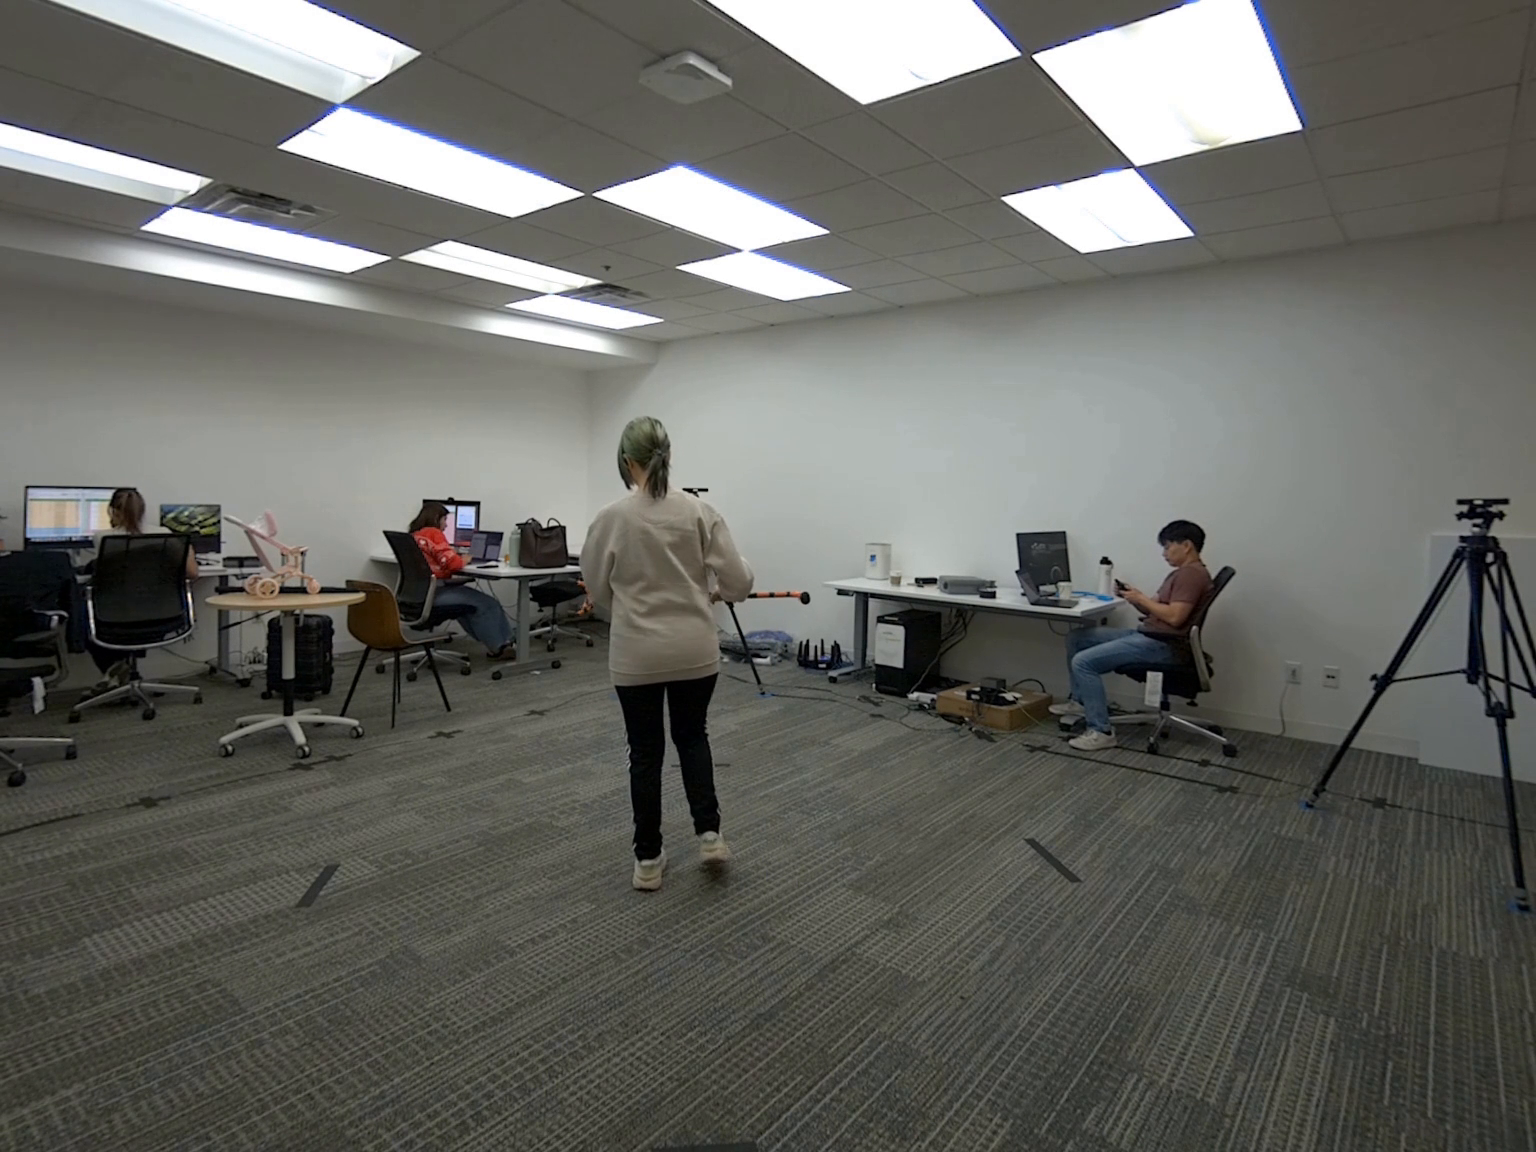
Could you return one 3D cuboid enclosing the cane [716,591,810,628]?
[{"bbox_3d":[-0.298,0.082,3.272,0.914,0.151,0.205,0,2,6],"label":"cane"}]
